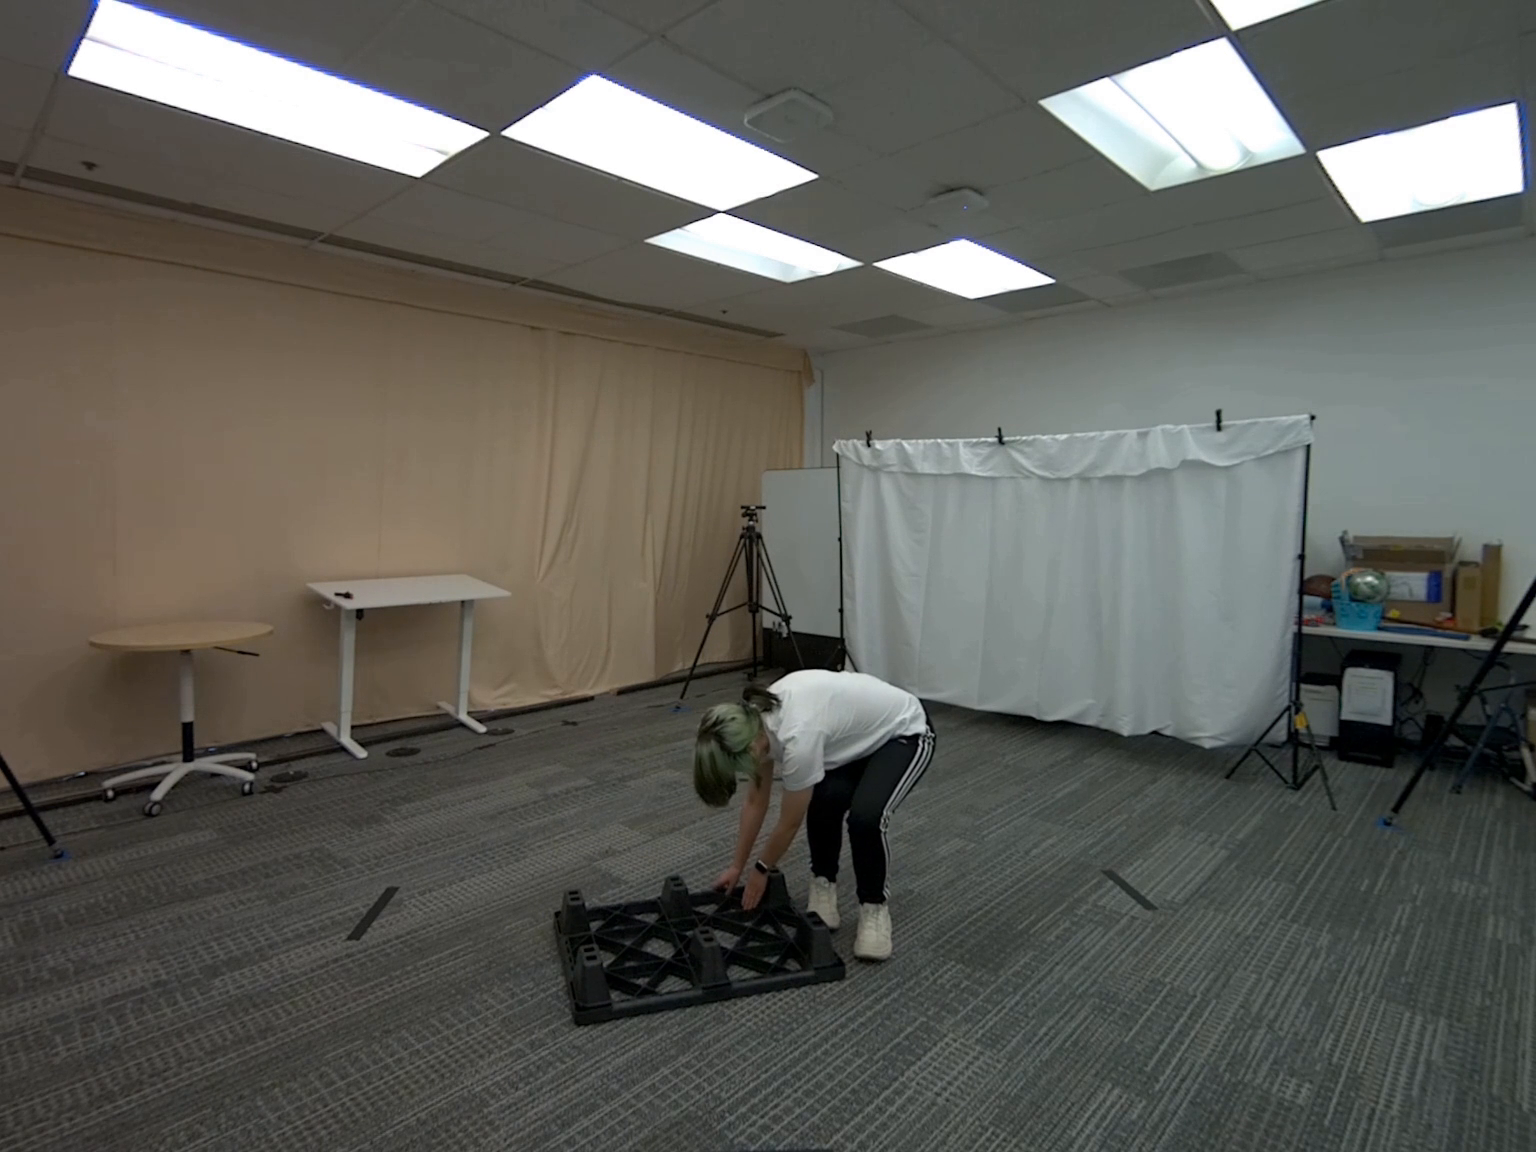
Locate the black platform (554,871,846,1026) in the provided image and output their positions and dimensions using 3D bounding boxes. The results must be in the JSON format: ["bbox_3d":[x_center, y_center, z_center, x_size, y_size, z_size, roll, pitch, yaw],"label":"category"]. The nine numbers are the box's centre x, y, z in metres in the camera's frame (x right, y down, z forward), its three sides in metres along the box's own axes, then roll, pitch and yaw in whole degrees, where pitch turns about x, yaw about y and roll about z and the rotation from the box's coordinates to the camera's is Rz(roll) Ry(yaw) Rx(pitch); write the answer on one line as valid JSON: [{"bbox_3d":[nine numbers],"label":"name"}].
[{"bbox_3d":[-0.234,1.100,2.640,0.791,0.143,0.617,-2,4,-18],"label":"black platform"}]
